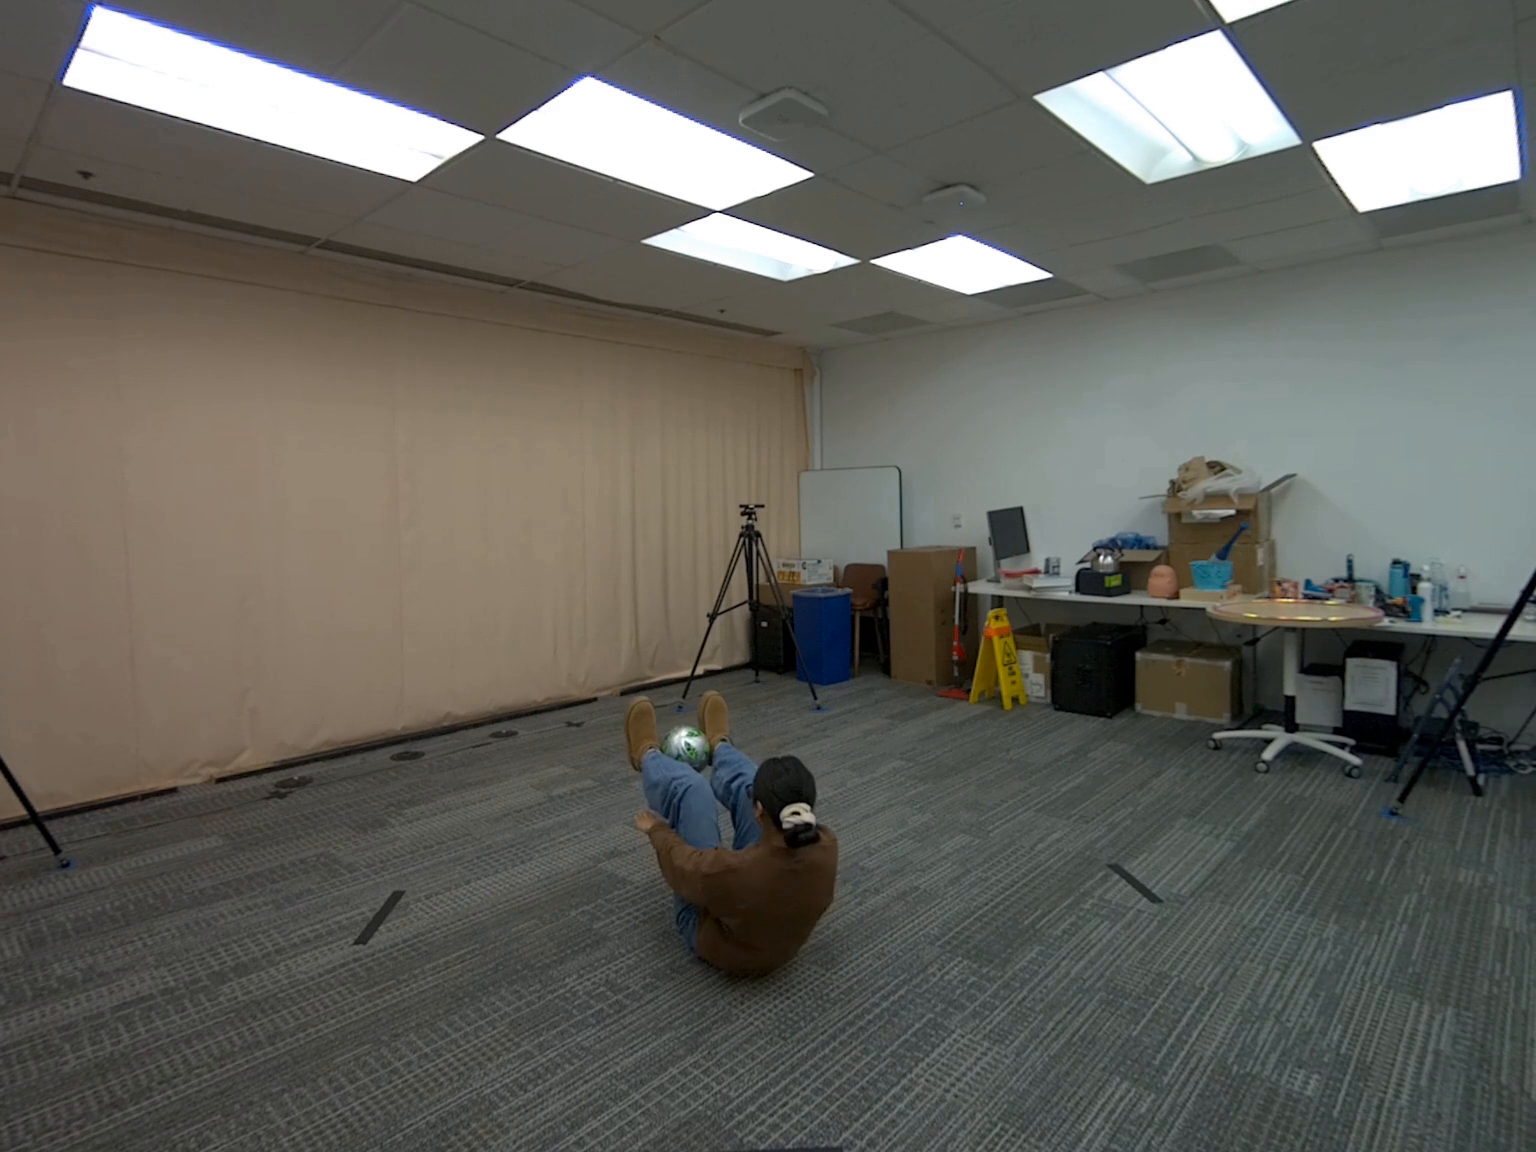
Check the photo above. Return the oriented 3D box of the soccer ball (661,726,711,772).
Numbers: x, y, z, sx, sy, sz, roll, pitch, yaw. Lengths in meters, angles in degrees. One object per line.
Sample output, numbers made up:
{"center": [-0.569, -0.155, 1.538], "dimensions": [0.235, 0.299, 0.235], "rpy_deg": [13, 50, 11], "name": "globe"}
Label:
{"center": [-0.308, 0.649, 3.068], "dimensions": [0.187, 0.187, 0.188], "rpy_deg": [-1, 4, -2], "name": "soccer ball"}
